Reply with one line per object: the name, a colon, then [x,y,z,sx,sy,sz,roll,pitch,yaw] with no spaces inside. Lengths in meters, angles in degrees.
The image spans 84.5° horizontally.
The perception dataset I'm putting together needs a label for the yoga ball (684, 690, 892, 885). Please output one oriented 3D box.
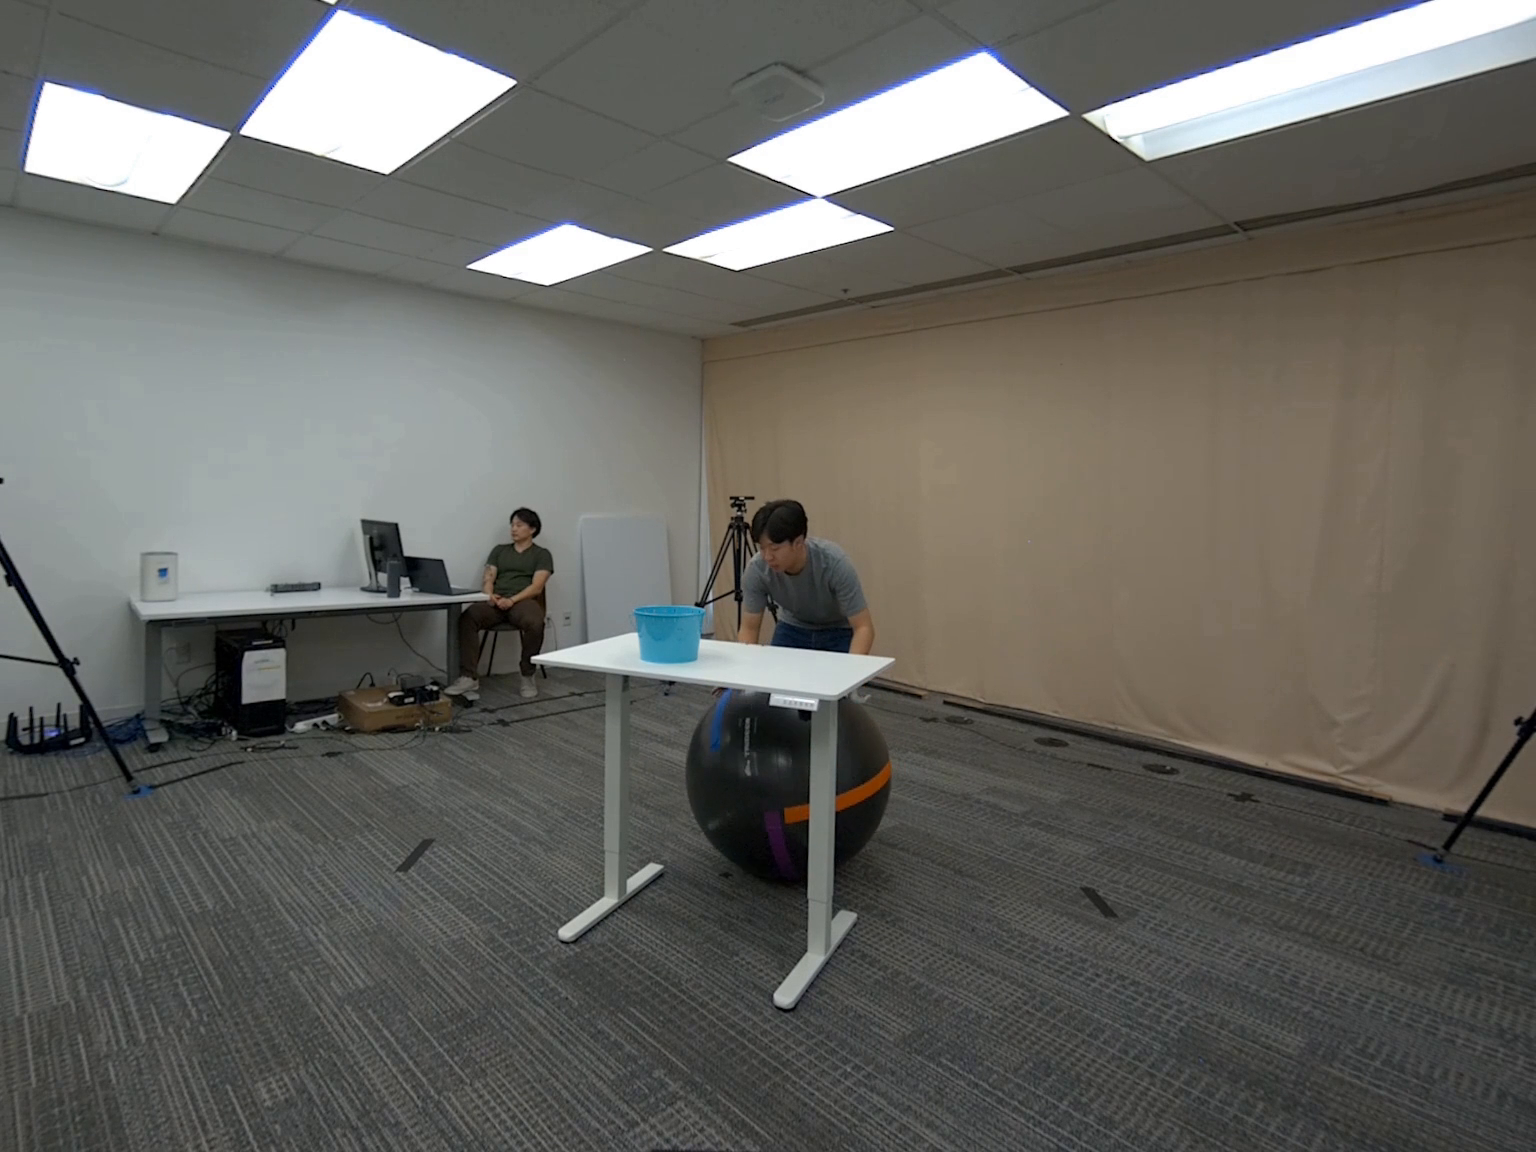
yoga ball: [0.075,0.735,3.146,0.757,0.756,0.761,1,4,-1]
